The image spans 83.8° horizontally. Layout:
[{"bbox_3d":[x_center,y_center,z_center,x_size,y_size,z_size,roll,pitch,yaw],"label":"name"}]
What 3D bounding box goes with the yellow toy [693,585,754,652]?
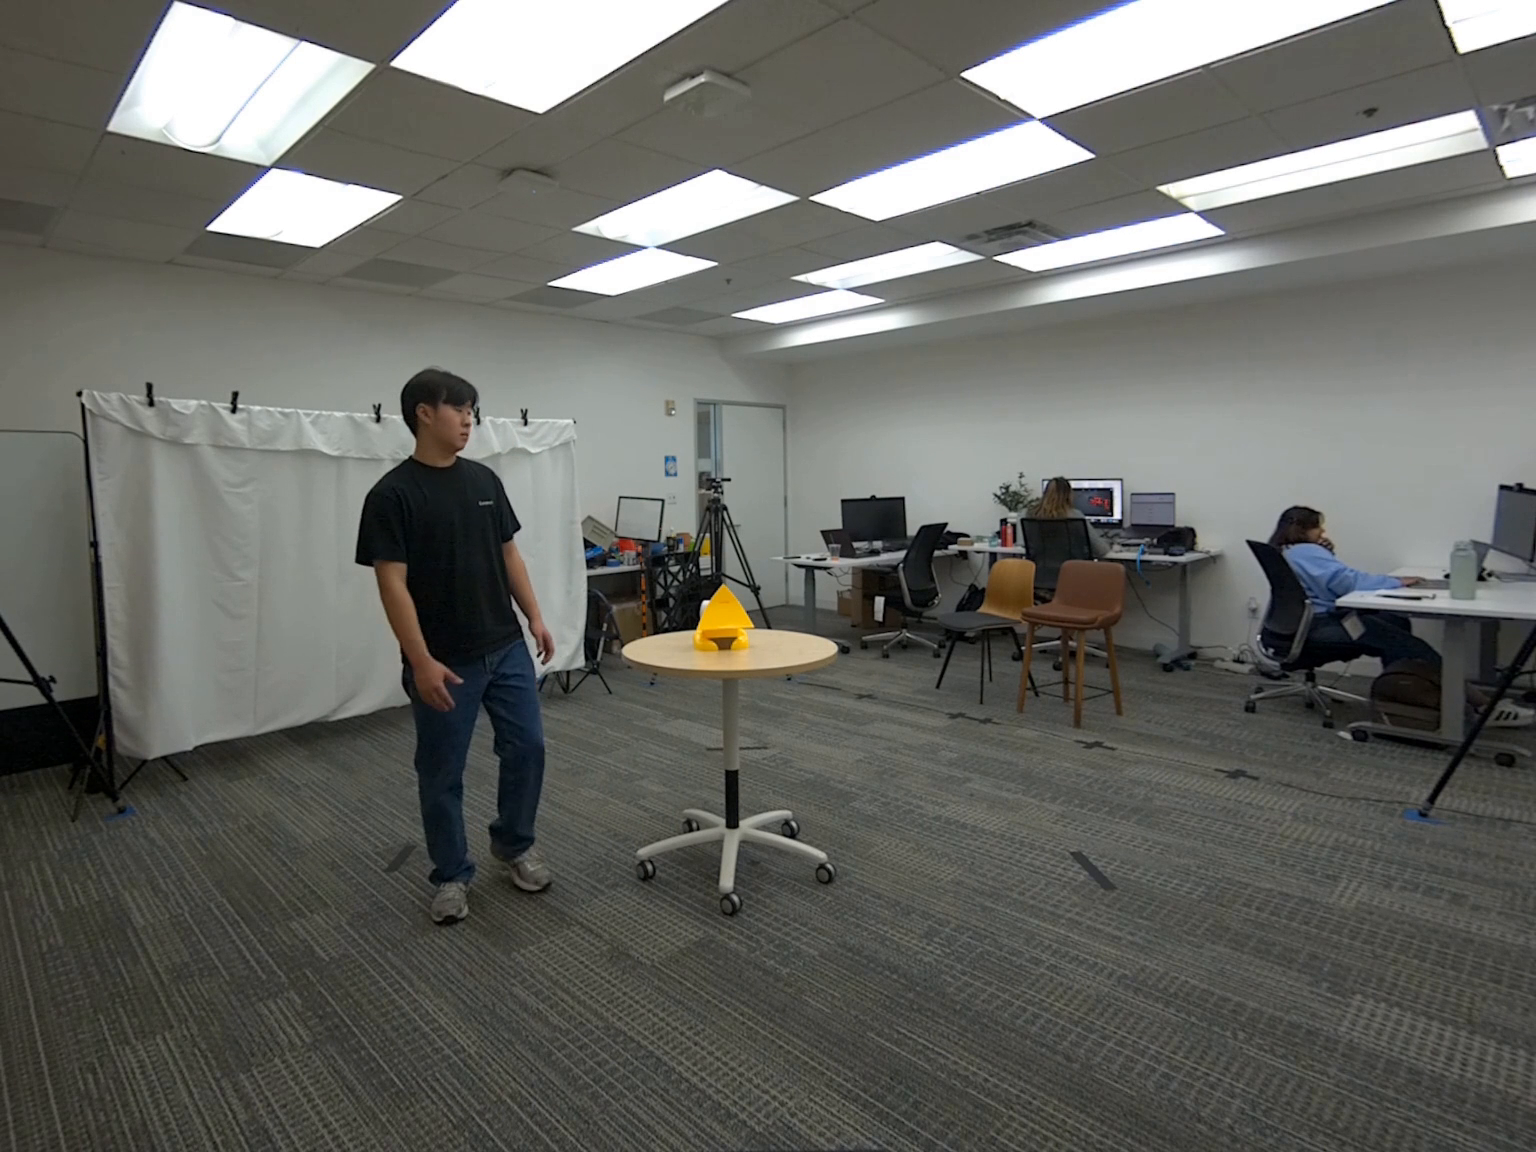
[{"bbox_3d":[-0.166,0.136,3.056,0.202,0.229,0.196,-2,6,-13],"label":"yellow toy"}]
